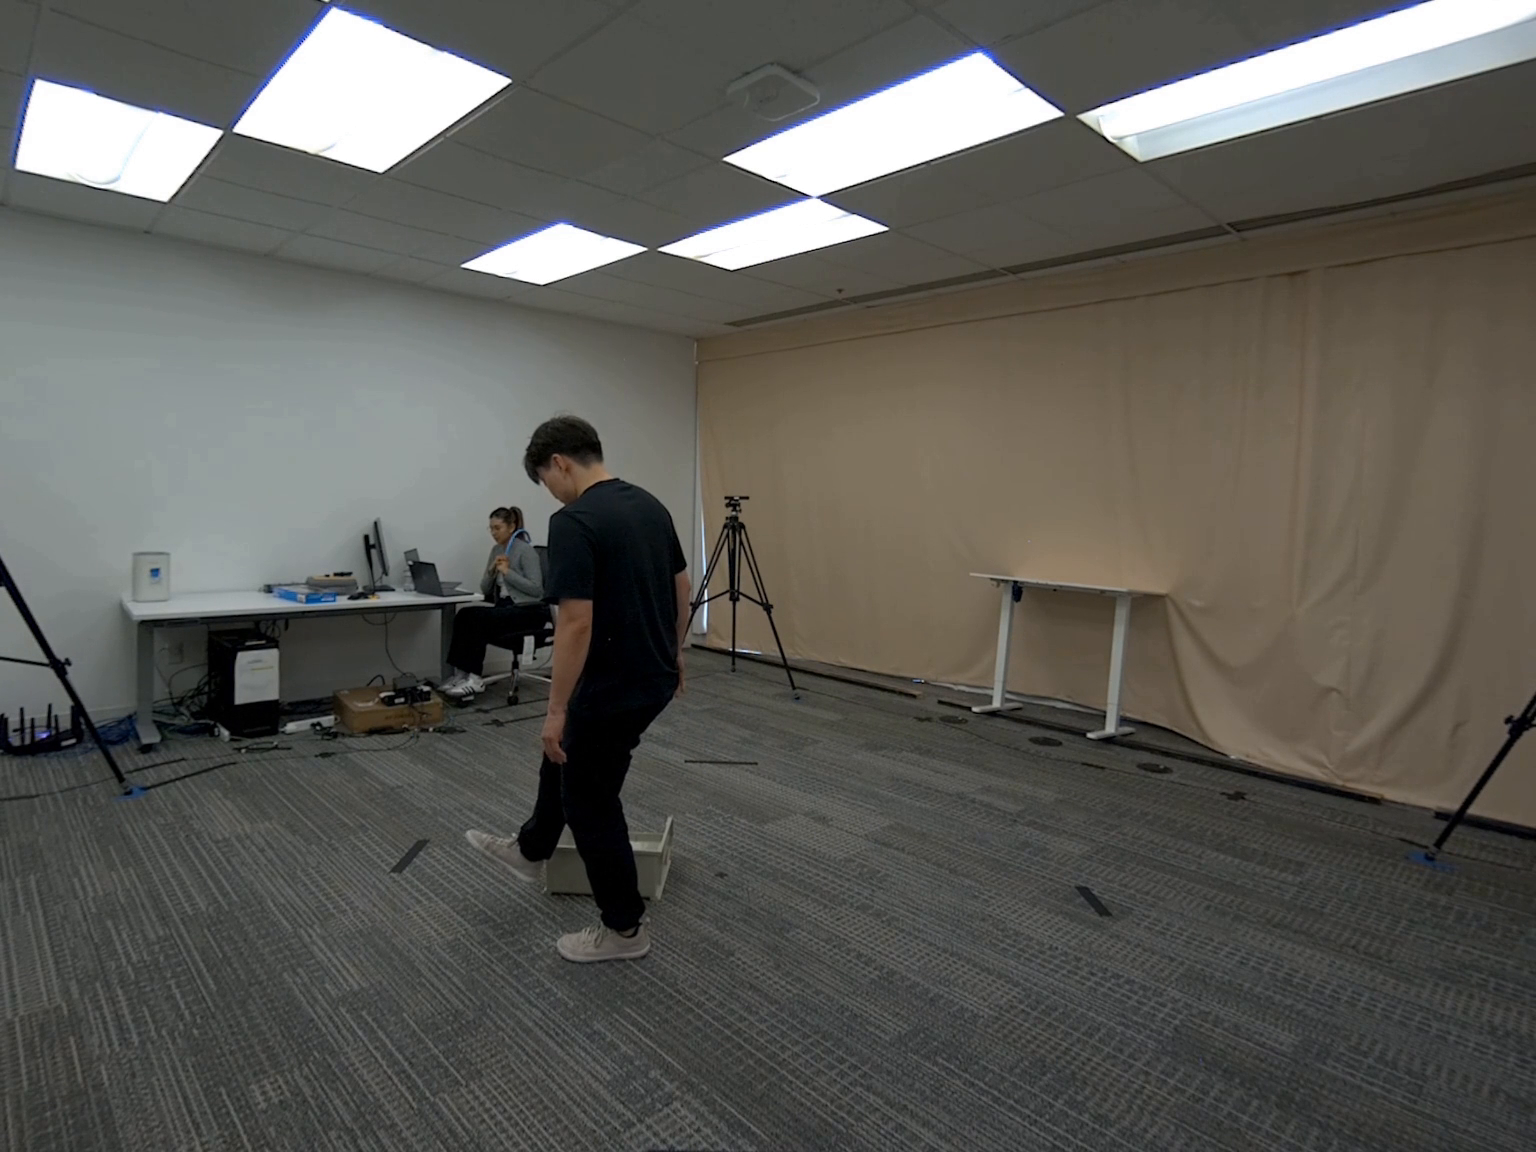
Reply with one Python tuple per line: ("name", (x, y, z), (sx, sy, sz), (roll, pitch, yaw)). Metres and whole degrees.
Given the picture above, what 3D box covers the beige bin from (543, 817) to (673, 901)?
("beige bin", (-0.584, 1.017, 3.080), (0.423, 0.188, 0.378), (2, 5, 2))
